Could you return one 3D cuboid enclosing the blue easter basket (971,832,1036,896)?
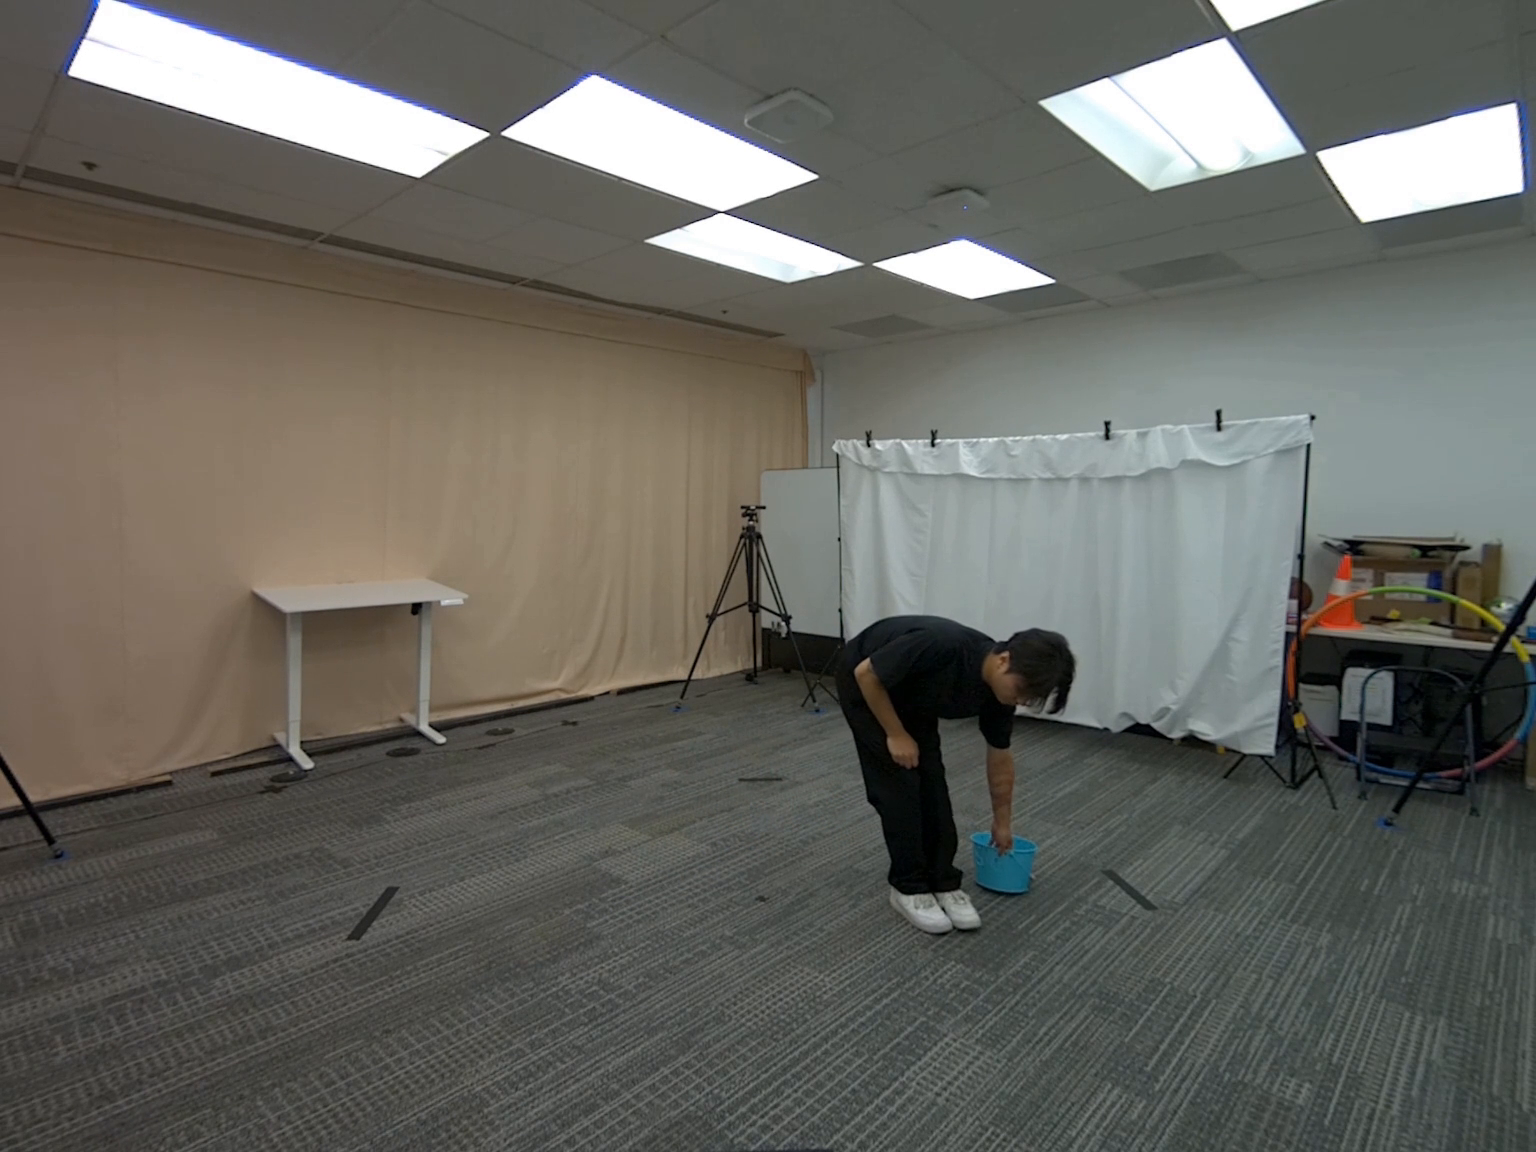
[{"bbox_3d":[0.859,1.049,3.070,0.243,0.156,0.243,3,-2,-2],"label":"blue easter basket"}]
